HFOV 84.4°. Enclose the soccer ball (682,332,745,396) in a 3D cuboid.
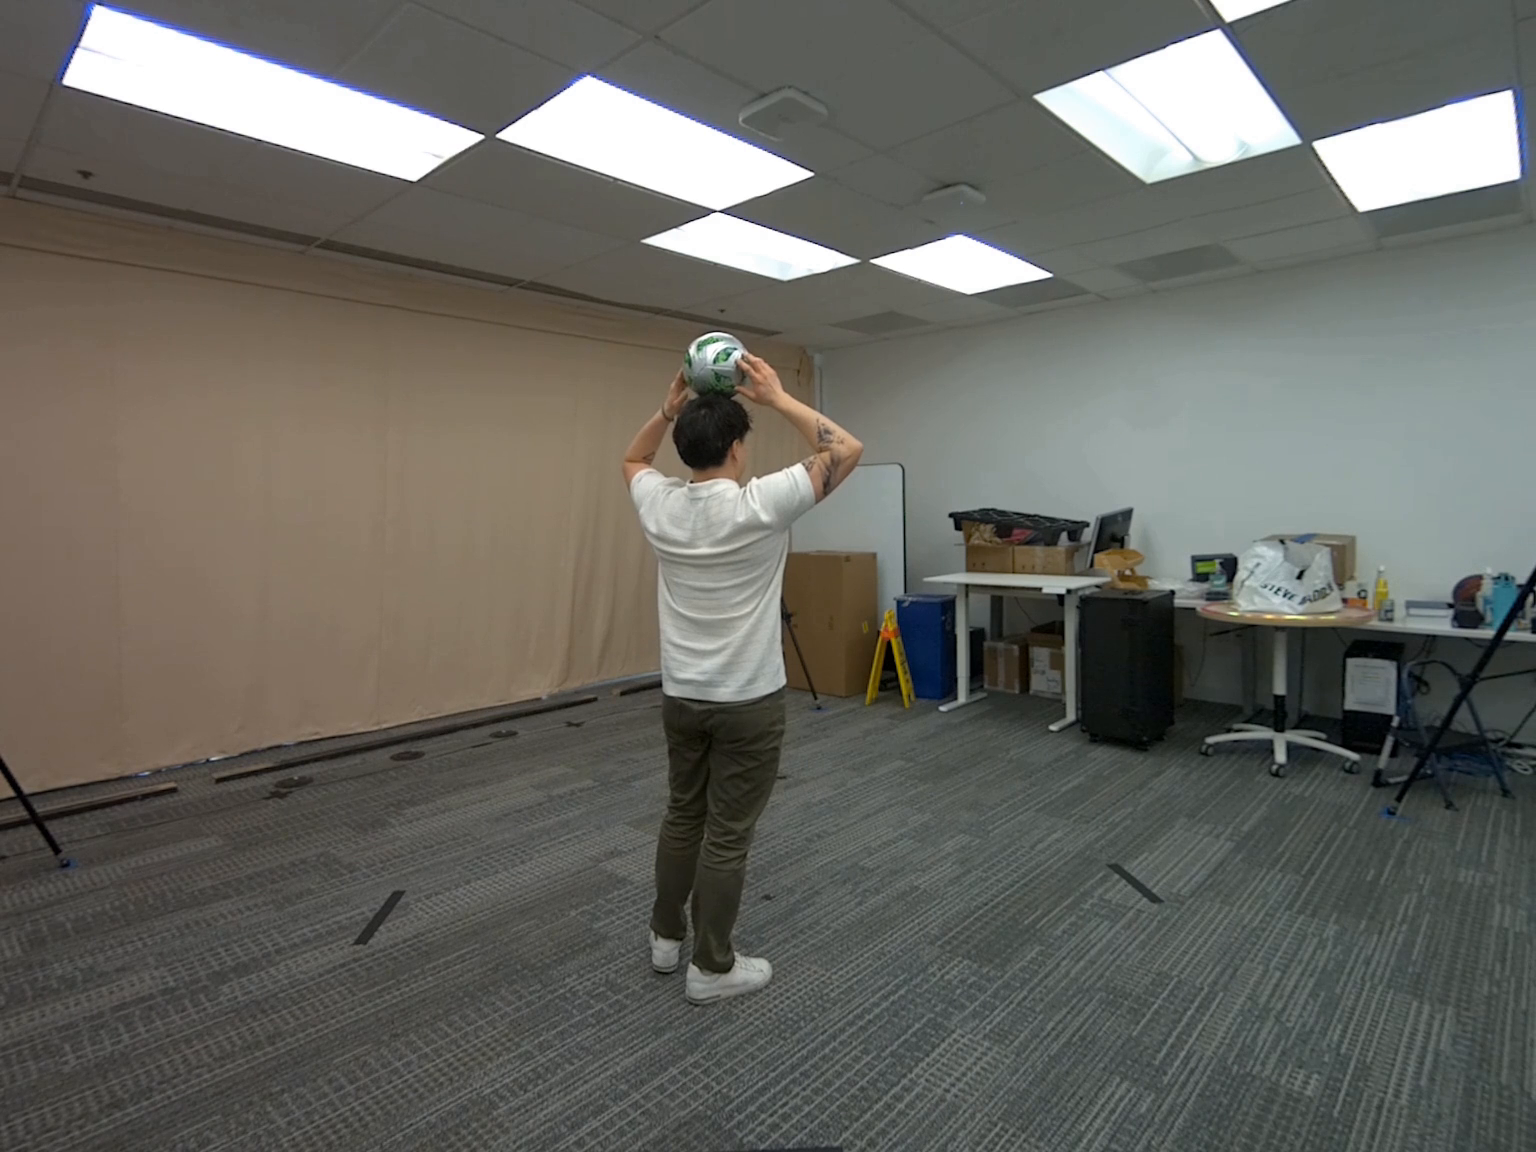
[{"bbox_3d":[-0.140,-0.576,2.325,0.187,0.187,0.188,-1,4,-2],"label":"soccer ball"}]
